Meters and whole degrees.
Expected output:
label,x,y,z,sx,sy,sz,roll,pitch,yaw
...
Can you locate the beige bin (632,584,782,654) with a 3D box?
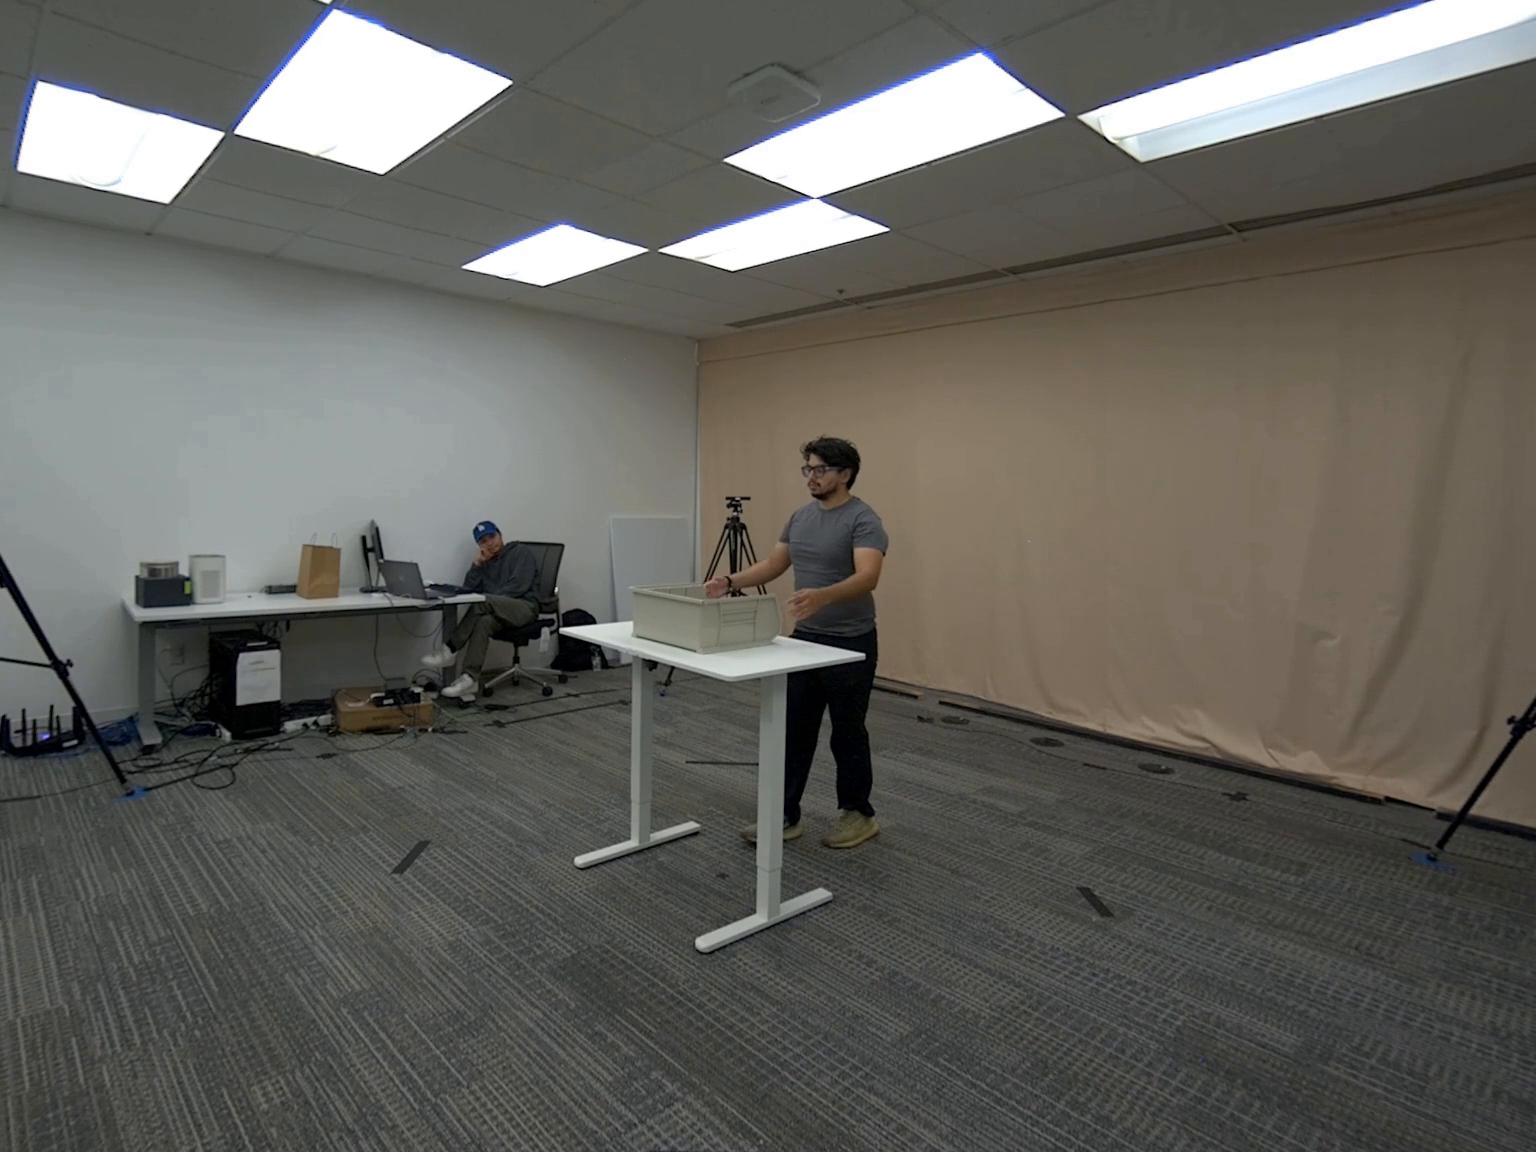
label,x,y,z,sx,sy,sz,roll,pitch,yaw
beige bin,-0.230,0.144,2.999,0.369,0.188,0.433,-5,9,-42
